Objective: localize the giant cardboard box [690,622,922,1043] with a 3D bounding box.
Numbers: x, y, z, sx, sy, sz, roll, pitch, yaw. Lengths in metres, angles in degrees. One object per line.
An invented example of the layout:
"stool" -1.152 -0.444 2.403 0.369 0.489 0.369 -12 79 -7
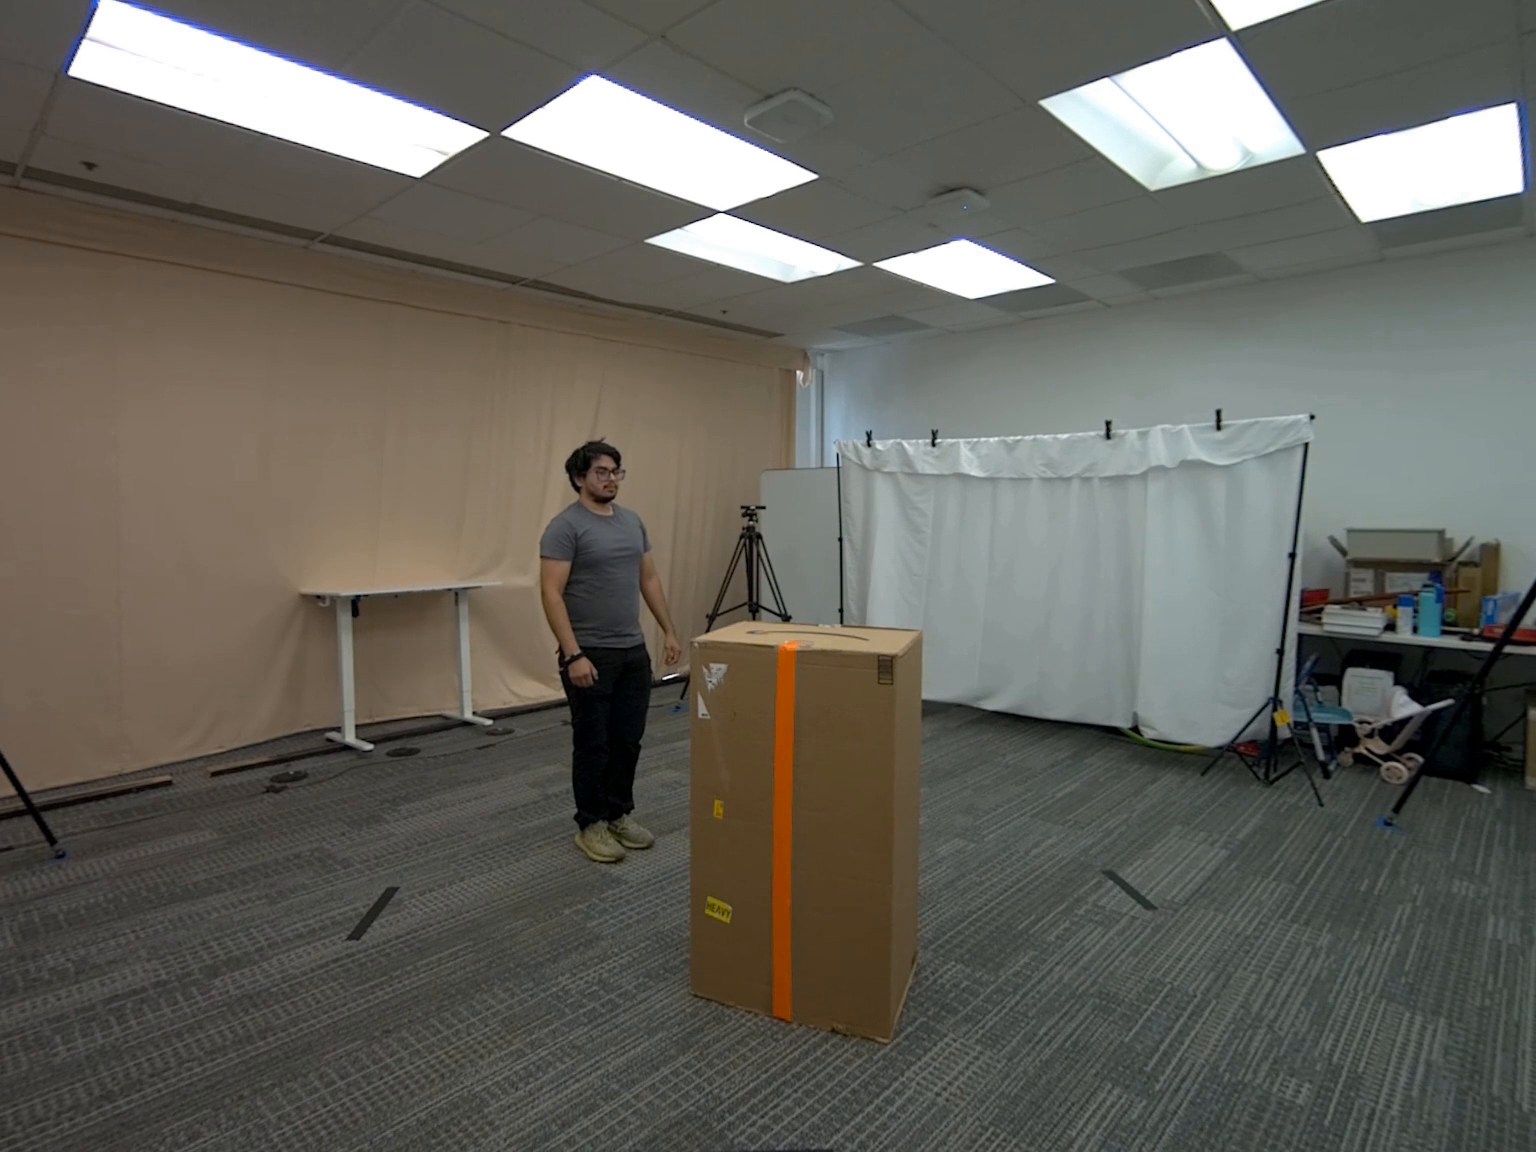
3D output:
"giant cardboard box" 0.123 0.680 2.447 0.591 1.024 0.417 2 3 23
